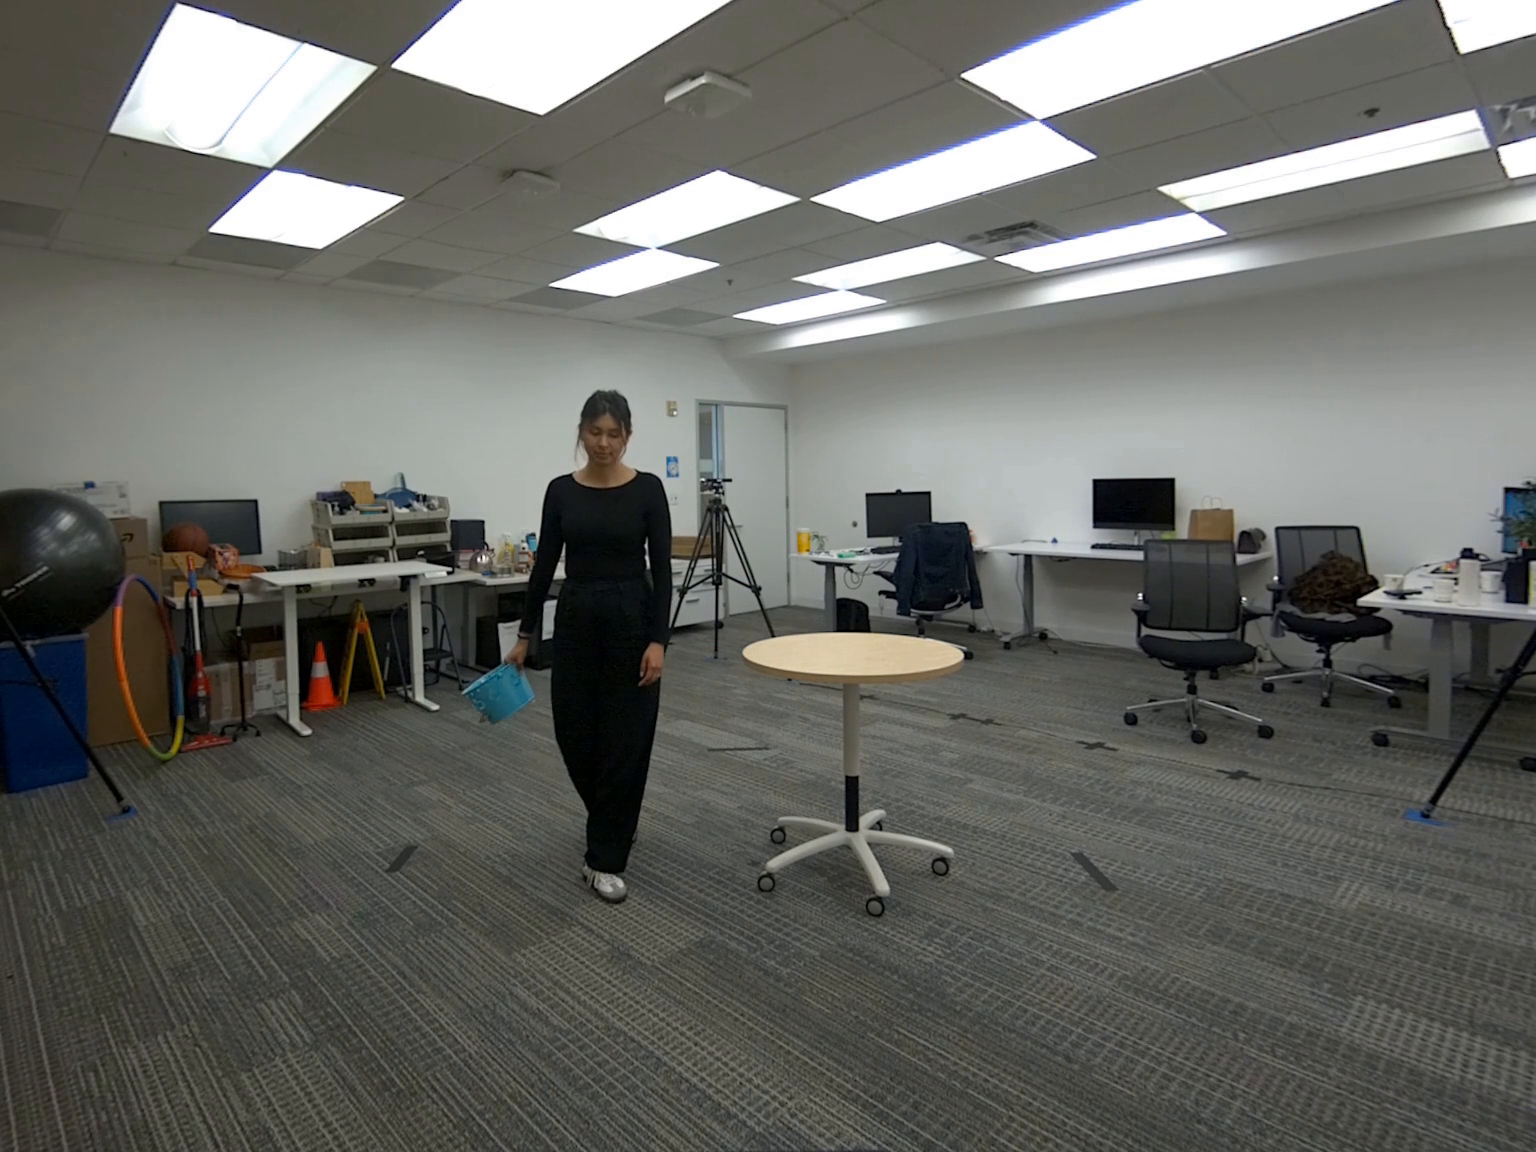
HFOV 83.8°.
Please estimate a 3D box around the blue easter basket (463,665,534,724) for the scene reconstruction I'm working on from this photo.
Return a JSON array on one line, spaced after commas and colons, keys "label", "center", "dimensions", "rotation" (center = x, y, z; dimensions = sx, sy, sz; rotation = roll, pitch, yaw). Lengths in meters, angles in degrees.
[{"label": "blue easter basket", "center": [-0.951, 0.418, 3.051], "dimensions": [0.244, 0.155, 0.245], "rotation": [-32, 6, 1]}]
